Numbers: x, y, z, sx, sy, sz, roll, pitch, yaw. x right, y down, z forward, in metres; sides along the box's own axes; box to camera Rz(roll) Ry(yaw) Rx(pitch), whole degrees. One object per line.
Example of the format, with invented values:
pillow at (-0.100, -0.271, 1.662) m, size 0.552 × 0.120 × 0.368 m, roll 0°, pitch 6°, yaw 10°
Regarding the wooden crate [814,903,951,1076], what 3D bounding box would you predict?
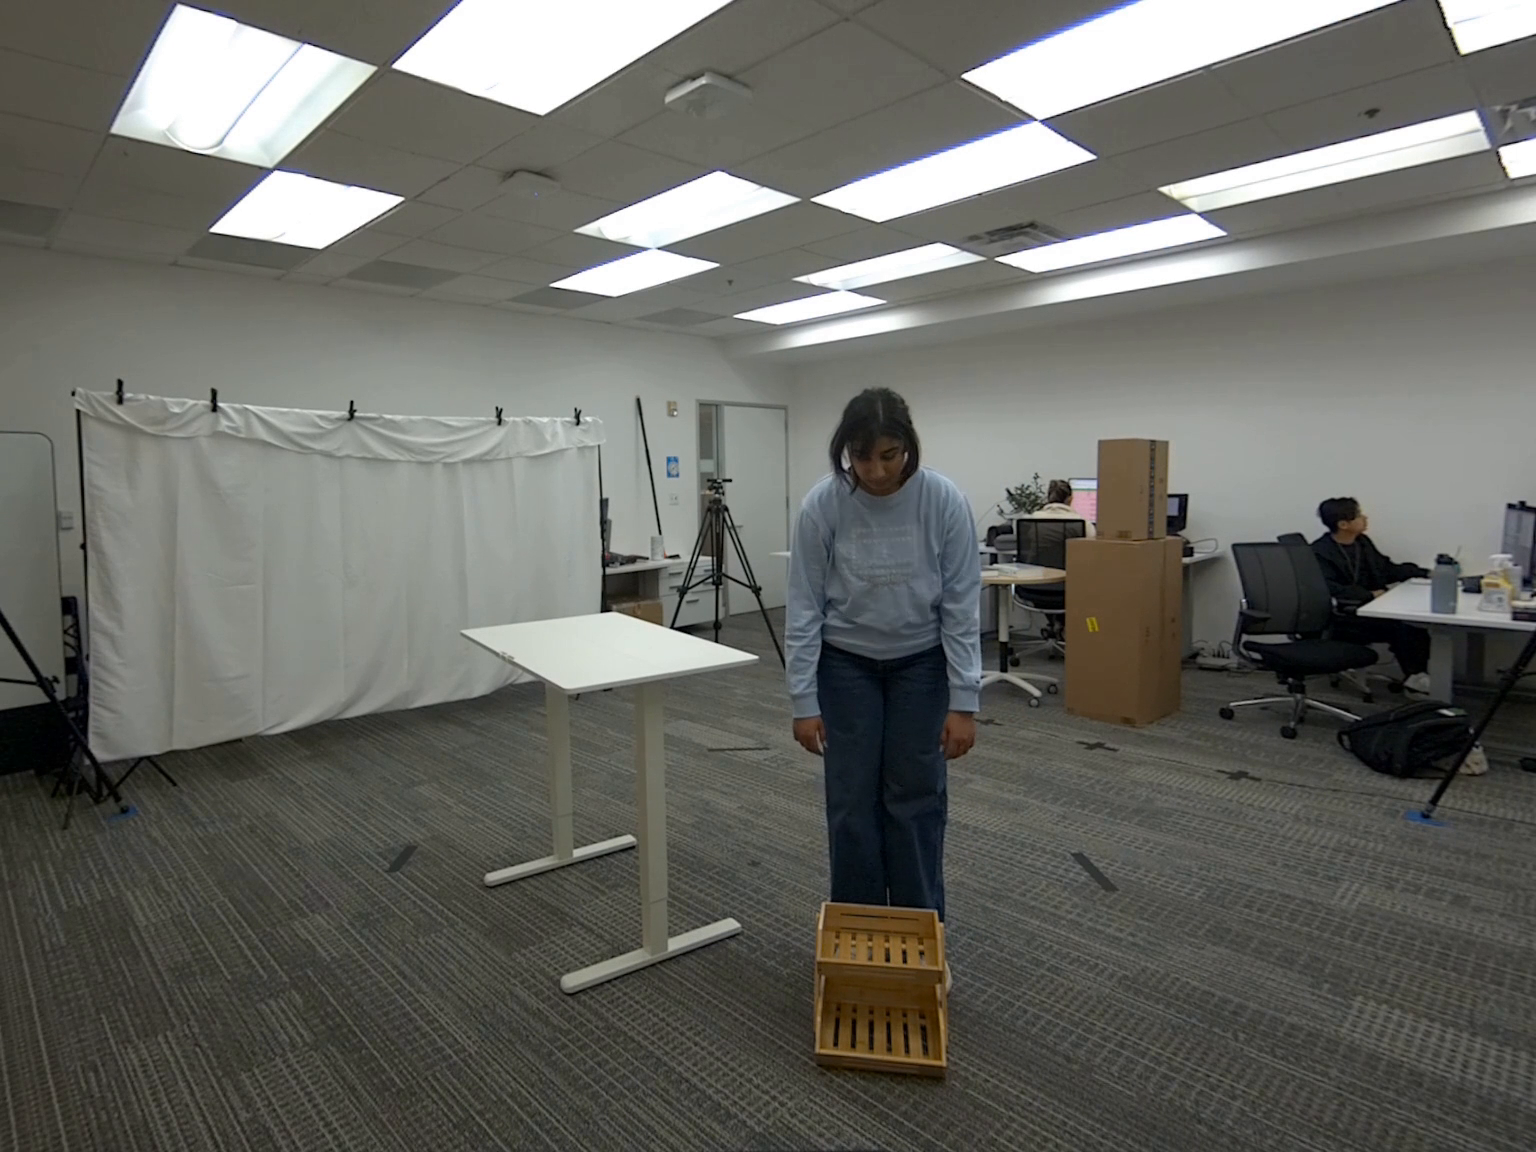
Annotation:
wooden crate at (0.288, 1.027, 2.118) m, size 0.327 × 0.272 × 0.300 m, roll 0°, pitch 4°, yaw 9°
